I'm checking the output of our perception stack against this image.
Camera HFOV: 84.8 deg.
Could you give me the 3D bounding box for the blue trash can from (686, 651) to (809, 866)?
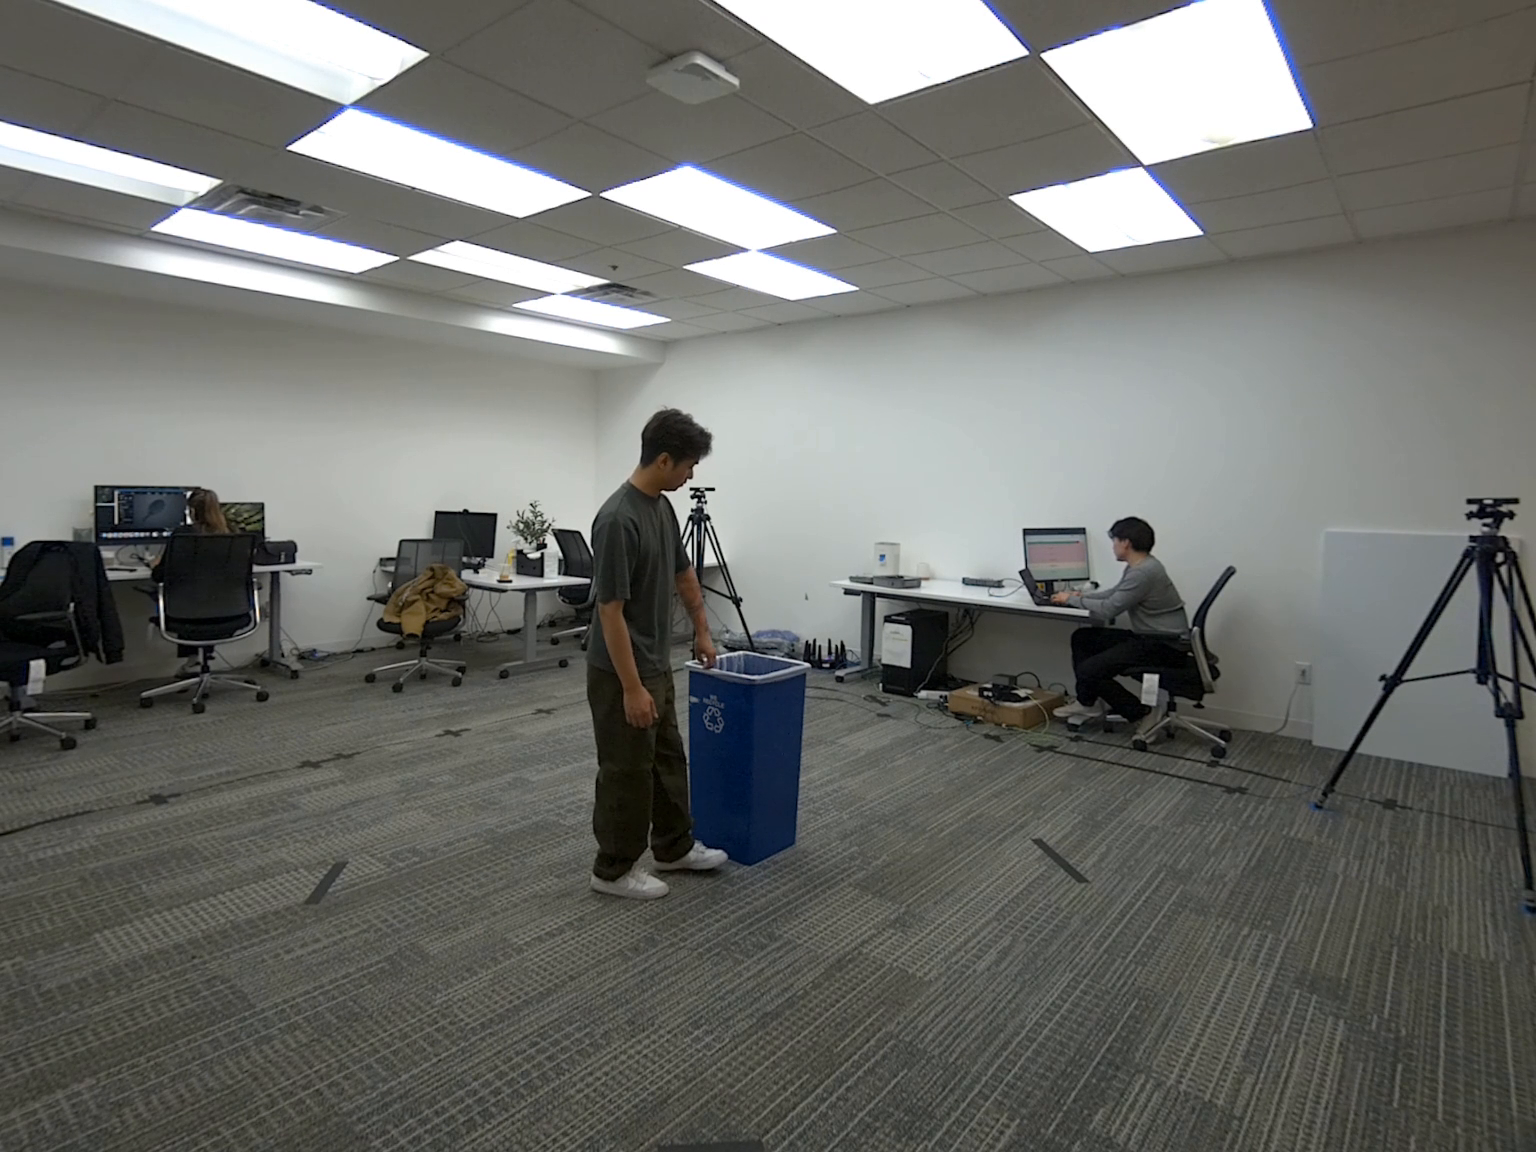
[{"bbox_3d":[-0.088,0.690,3.319,0.386,0.711,0.367,3,4,38],"label":"blue trash can"}]
